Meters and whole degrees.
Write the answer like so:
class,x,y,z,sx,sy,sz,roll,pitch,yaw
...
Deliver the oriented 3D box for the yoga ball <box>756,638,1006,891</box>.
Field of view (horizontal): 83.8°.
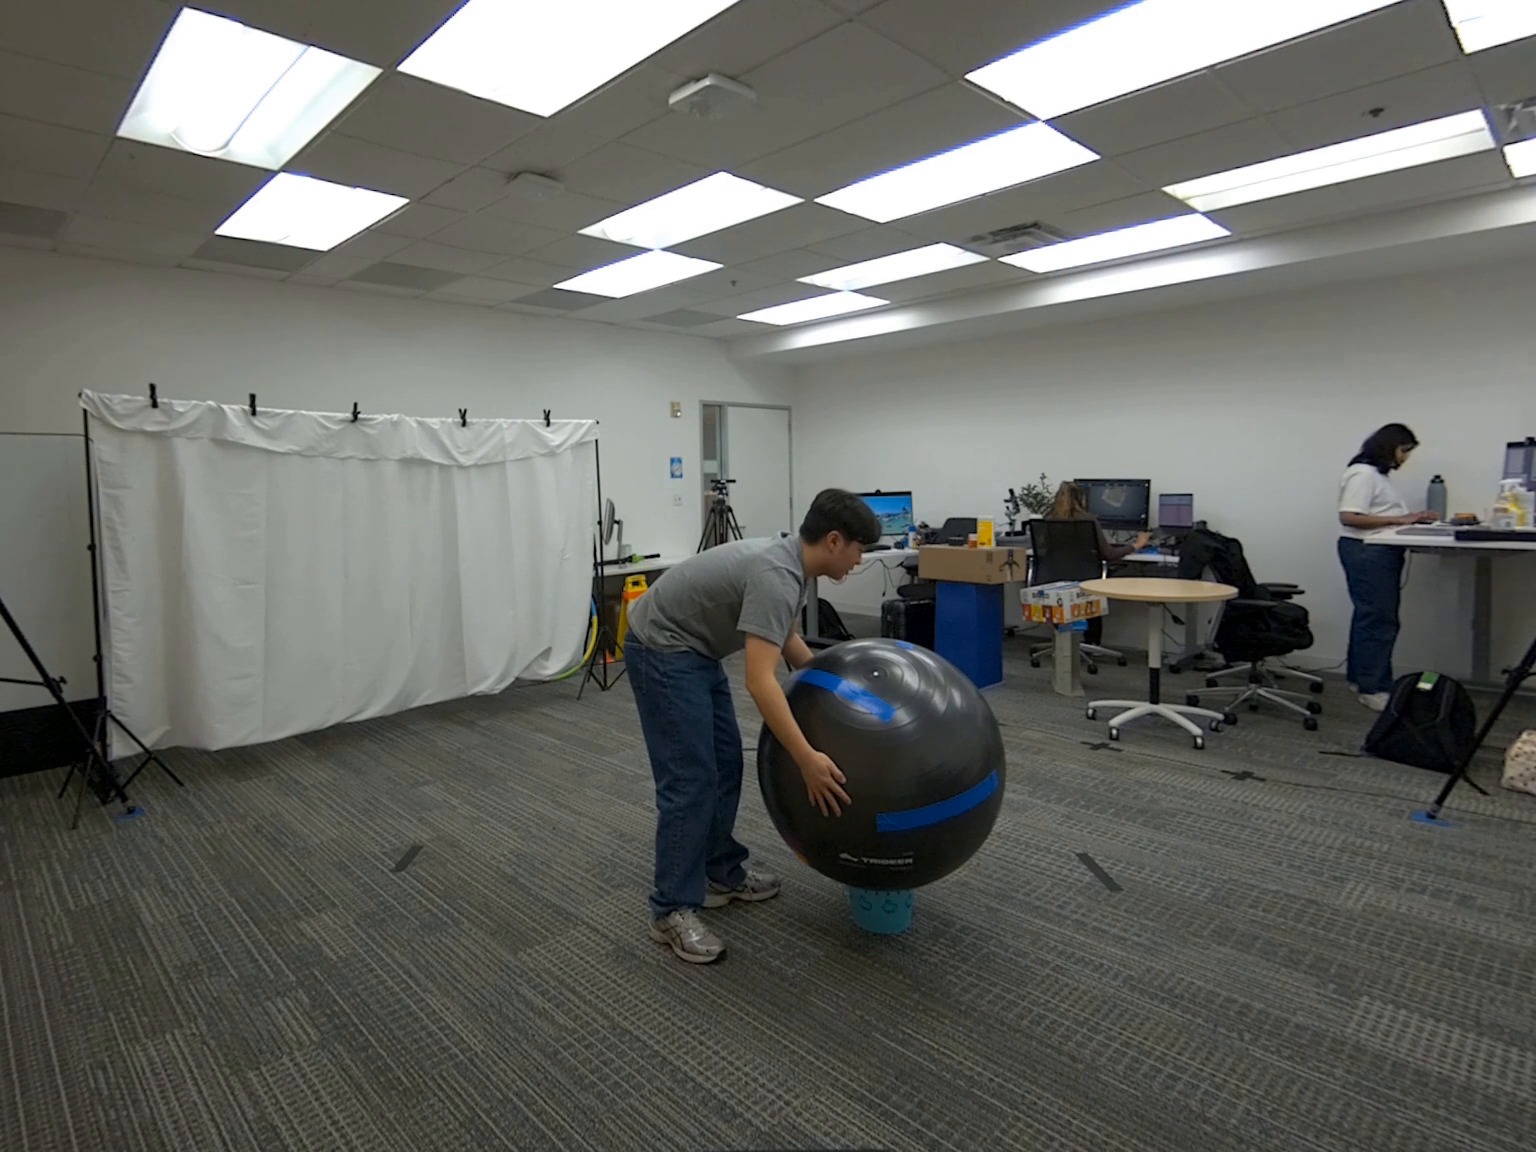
class,x,y,z,sx,sy,sz,roll,pitch,yaw
yoga ball,0.353,0.584,2.661,0.757,0.755,0.762,-1,5,-2
